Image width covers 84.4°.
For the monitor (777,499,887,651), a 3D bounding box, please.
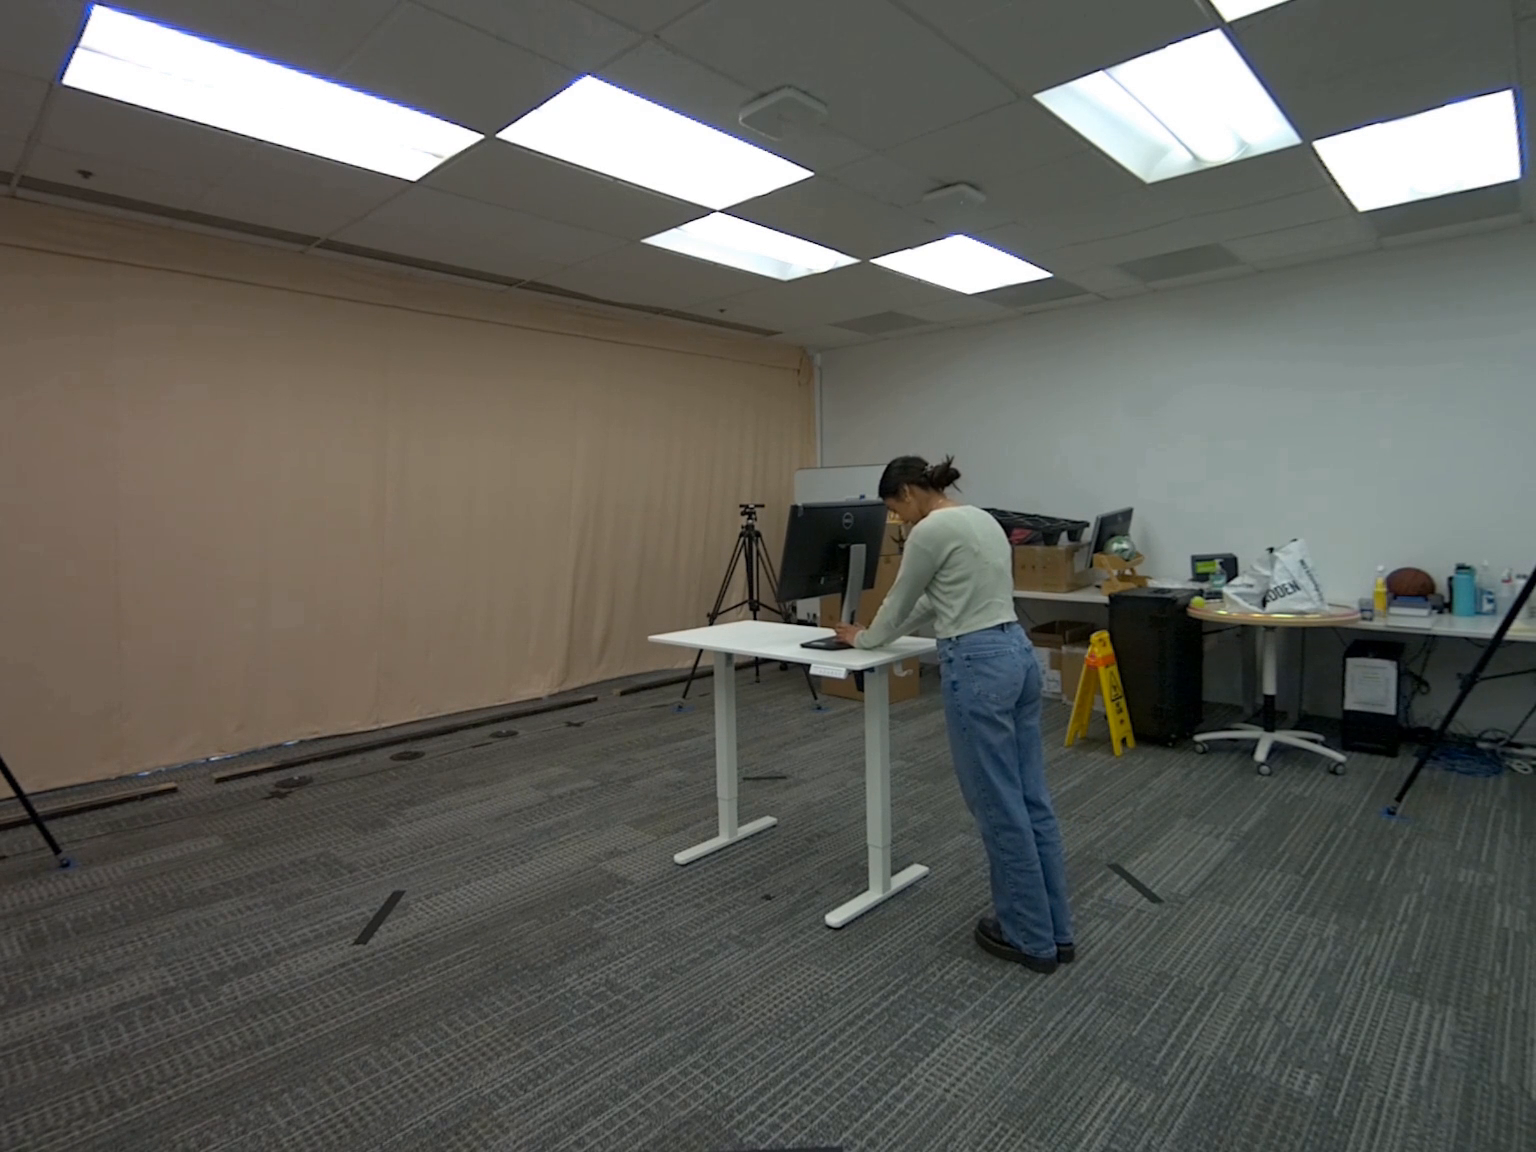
[{"bbox_3d":[0.265,-0.006,3.021,0.523,0.521,0.193,-6,7,-44],"label":"monitor"}]
